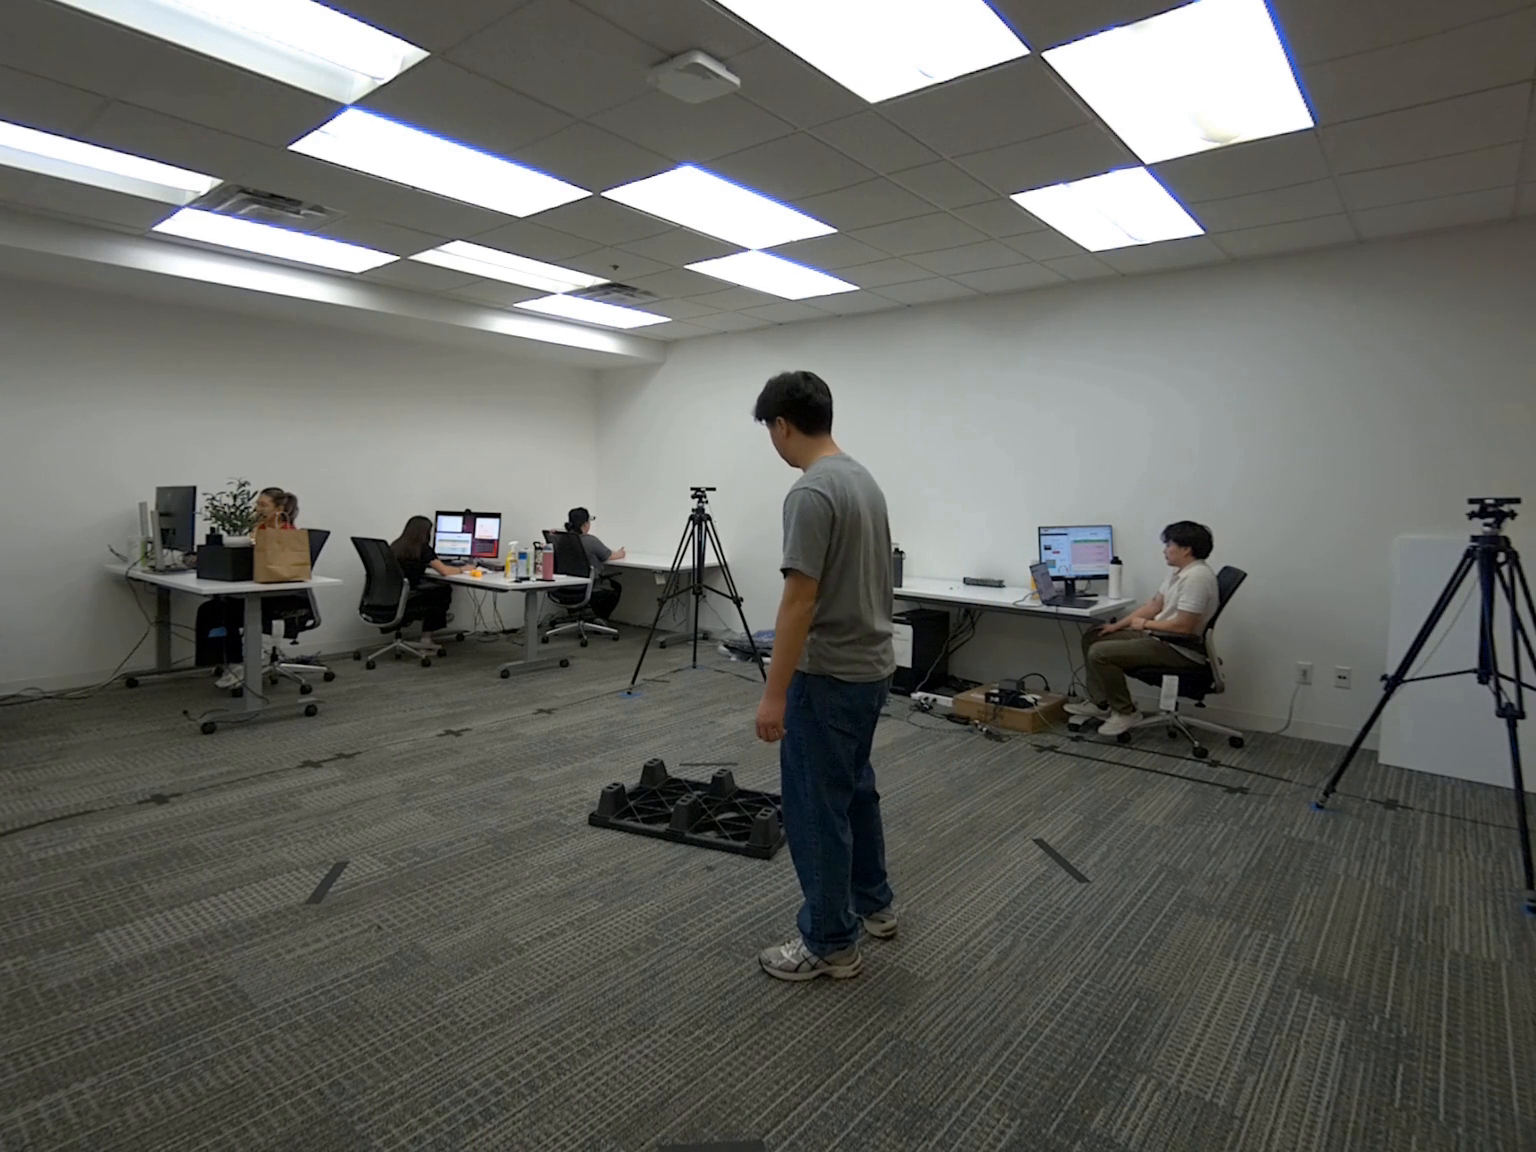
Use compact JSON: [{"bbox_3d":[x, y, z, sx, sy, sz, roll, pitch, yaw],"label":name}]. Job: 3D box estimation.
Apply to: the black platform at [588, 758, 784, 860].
[{"bbox_3d":[-0.274,0.949,3.605,0.824,0.143,0.594,4,7,21],"label":"black platform"}]
